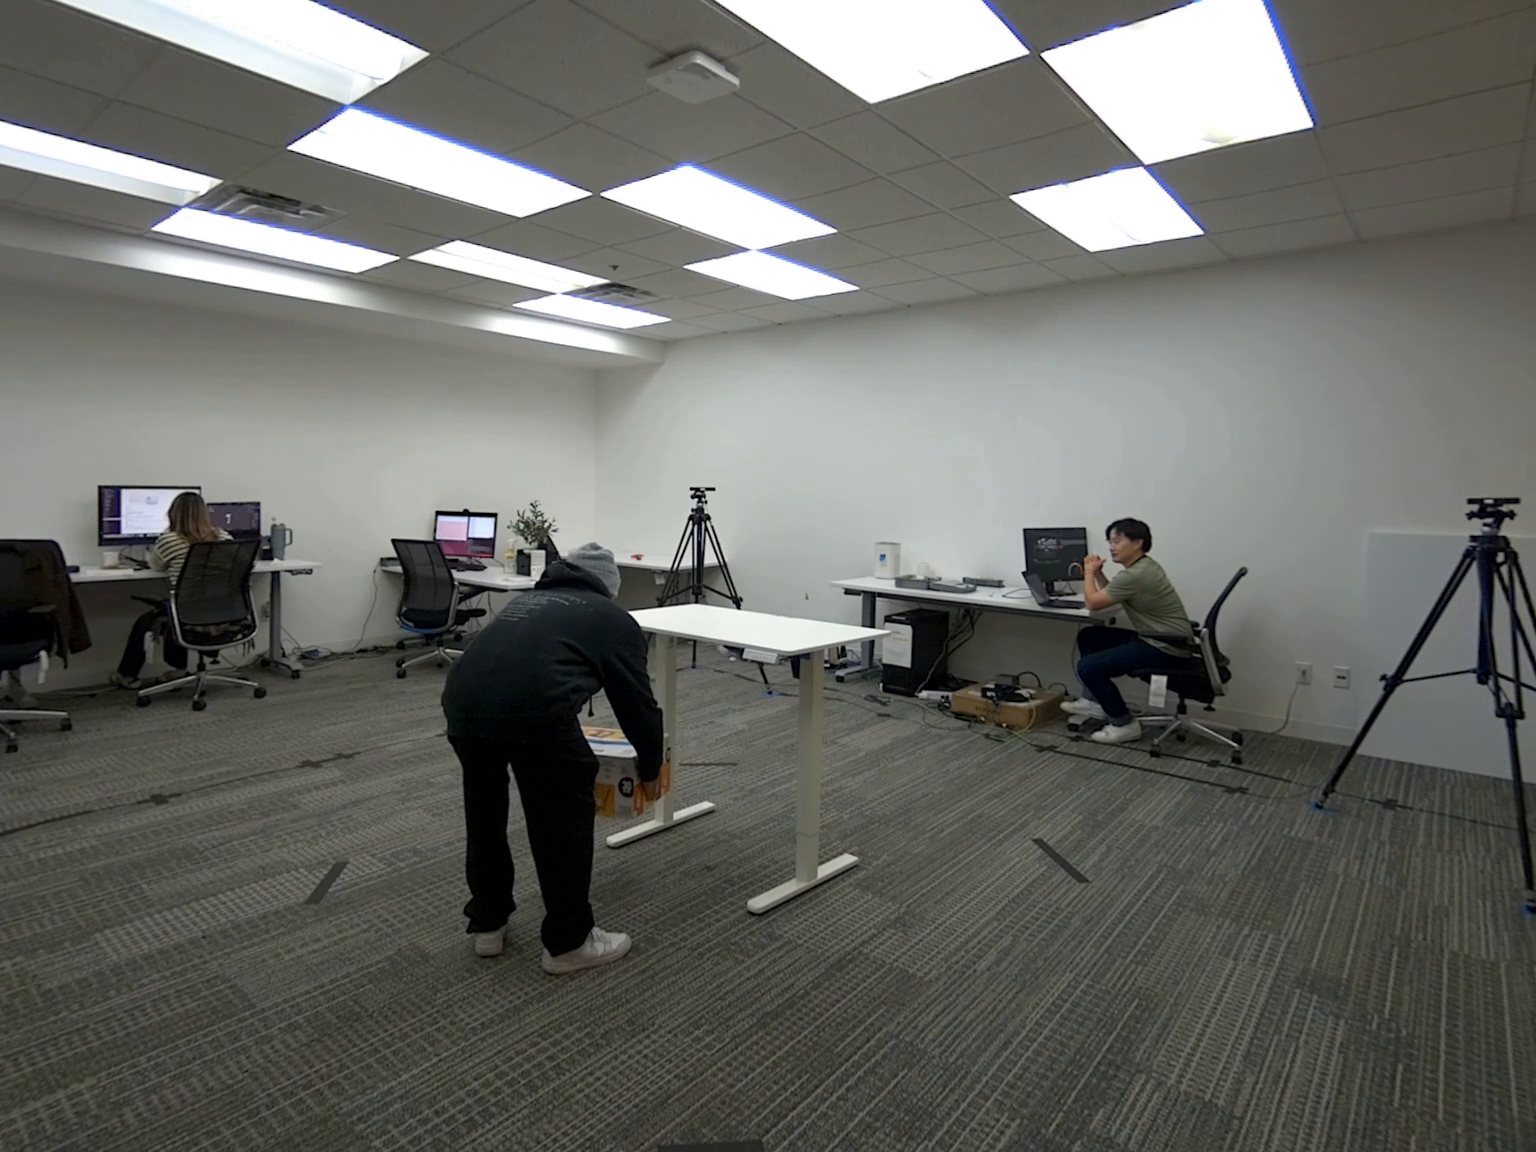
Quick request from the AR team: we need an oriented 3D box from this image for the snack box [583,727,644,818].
[{"bbox_3d":[-0.594,0.659,2.906,0.412,0.206,0.335,1,1,15],"label":"snack box"}]
